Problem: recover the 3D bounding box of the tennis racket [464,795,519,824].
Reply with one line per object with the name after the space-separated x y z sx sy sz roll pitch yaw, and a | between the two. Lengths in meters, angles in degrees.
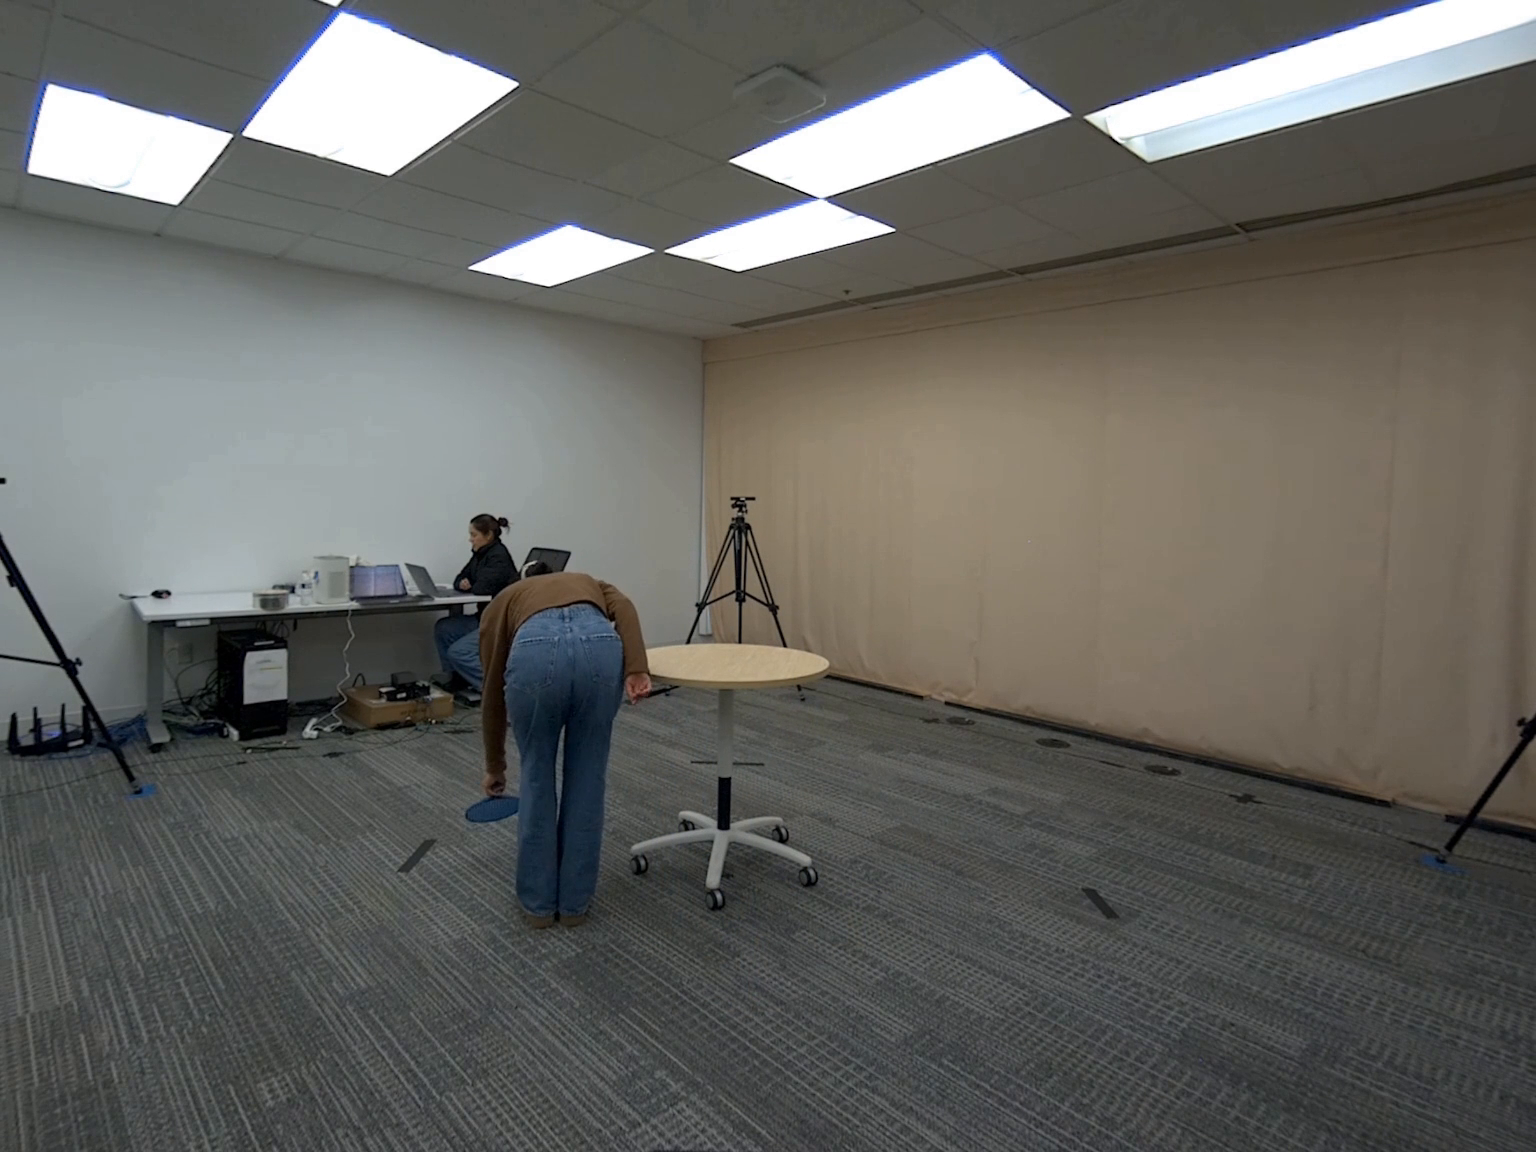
-0.995 0.822 3.071 0.210 0.032 0.429 -4 -31 -23 | tennis racket
